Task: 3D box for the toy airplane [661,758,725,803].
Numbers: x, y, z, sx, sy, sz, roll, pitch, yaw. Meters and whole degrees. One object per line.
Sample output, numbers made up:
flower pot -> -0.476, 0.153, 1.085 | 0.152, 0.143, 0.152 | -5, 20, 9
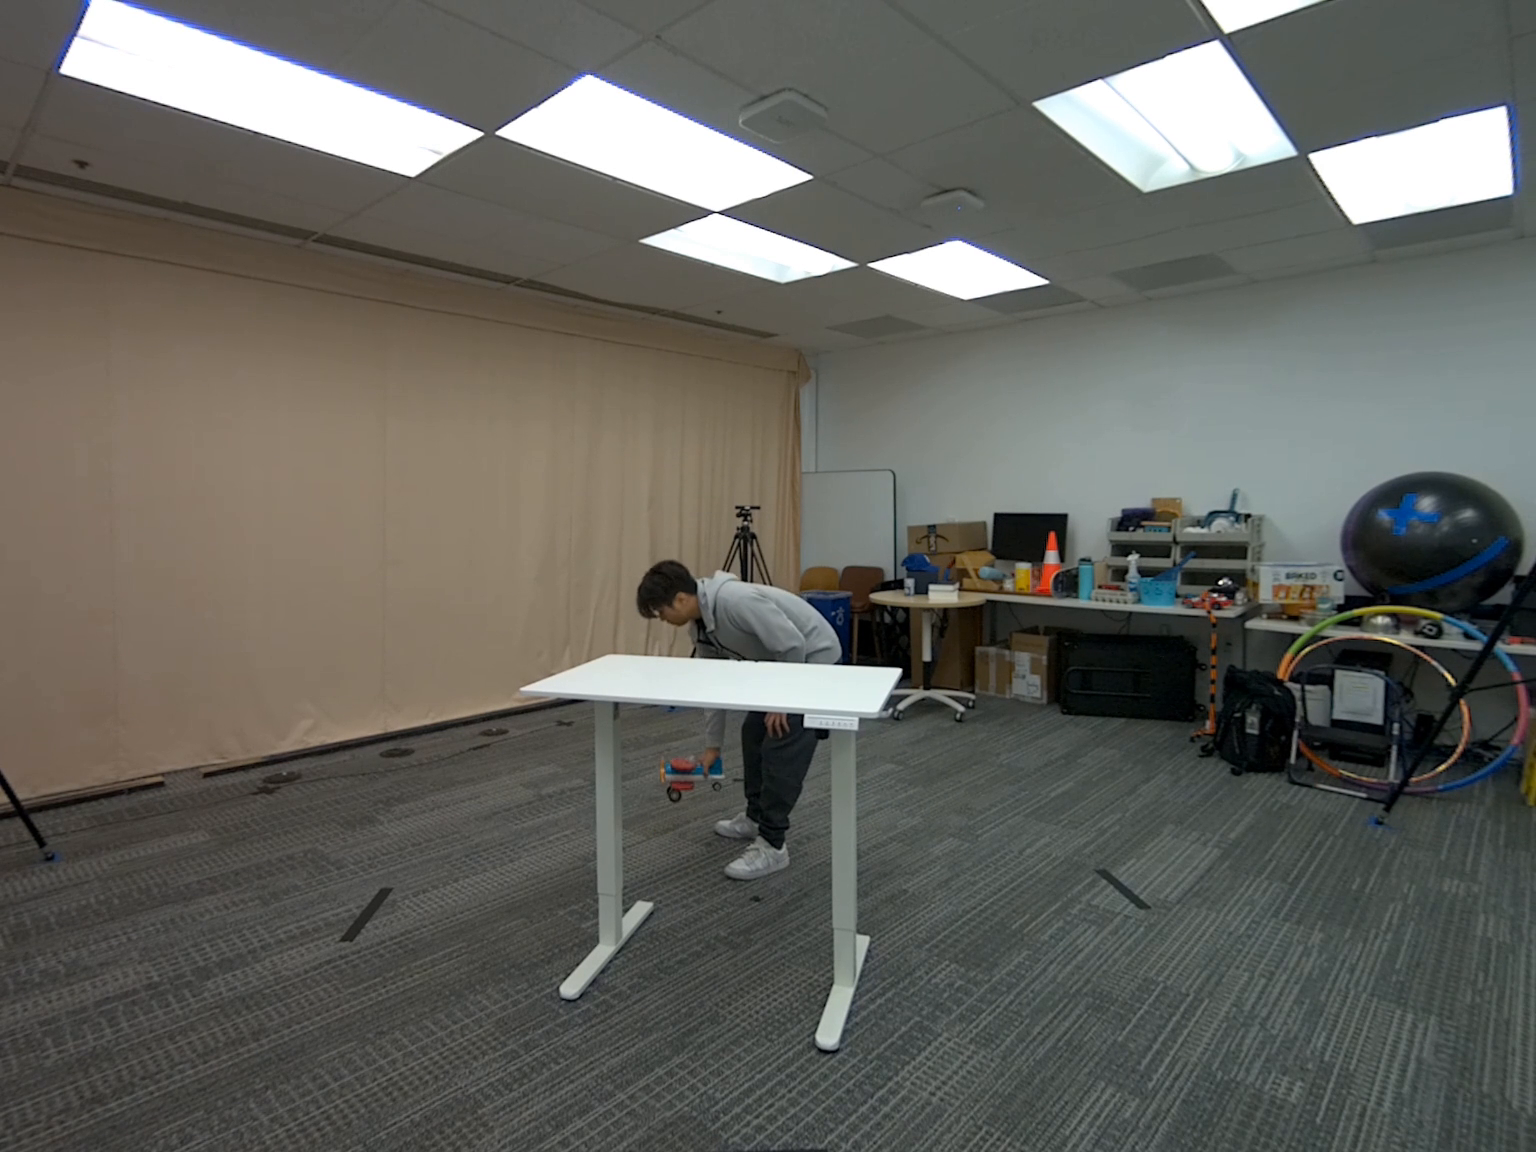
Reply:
toy airplane -> -0.315, 0.822, 3.464 | 0.252, 0.157, 0.257 | -9, -5, -38
